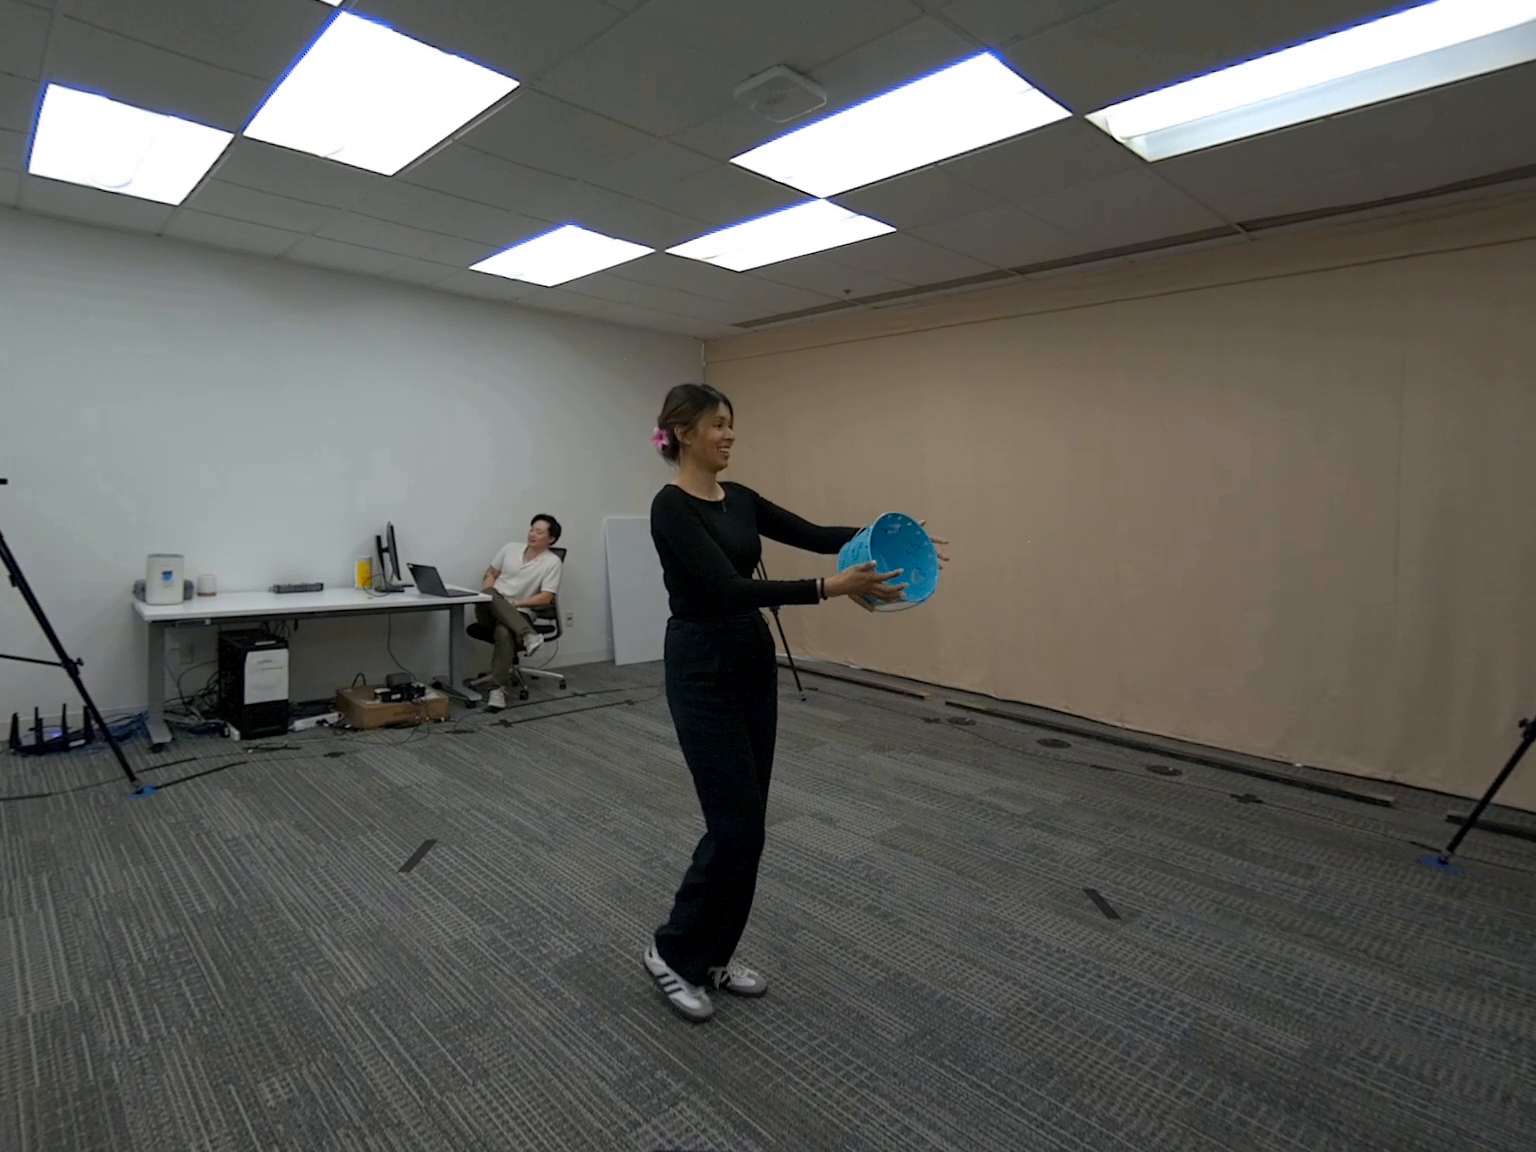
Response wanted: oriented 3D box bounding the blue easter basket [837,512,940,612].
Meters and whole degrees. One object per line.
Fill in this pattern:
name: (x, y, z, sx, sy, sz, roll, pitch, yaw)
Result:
blue easter basket: (0.289, -0.023, 2.107, 0.238, 0.247, 0.157, -2, -19, -35)
